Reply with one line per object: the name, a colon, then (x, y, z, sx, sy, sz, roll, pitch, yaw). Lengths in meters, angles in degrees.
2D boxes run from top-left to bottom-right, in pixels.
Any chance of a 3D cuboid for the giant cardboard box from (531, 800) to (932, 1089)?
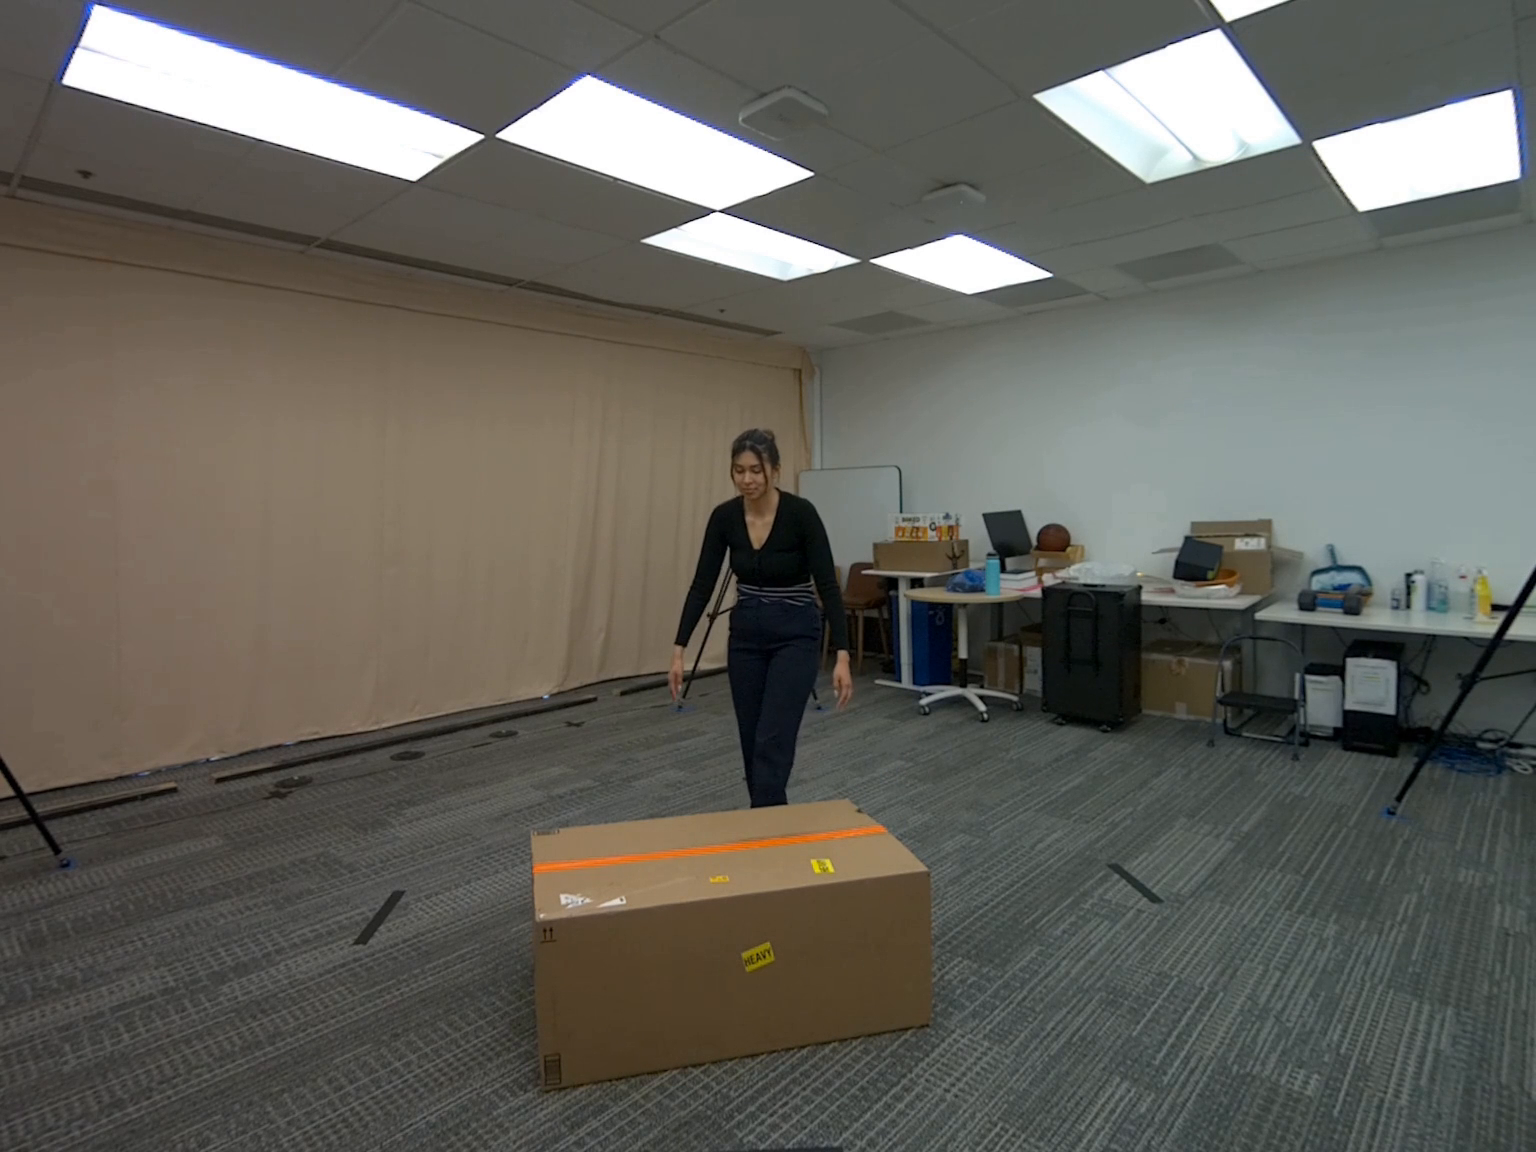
giant cardboard box: (-0.137, 0.978, 2.386, 1.011, 0.425, 0.588, -2, 5, -14)
